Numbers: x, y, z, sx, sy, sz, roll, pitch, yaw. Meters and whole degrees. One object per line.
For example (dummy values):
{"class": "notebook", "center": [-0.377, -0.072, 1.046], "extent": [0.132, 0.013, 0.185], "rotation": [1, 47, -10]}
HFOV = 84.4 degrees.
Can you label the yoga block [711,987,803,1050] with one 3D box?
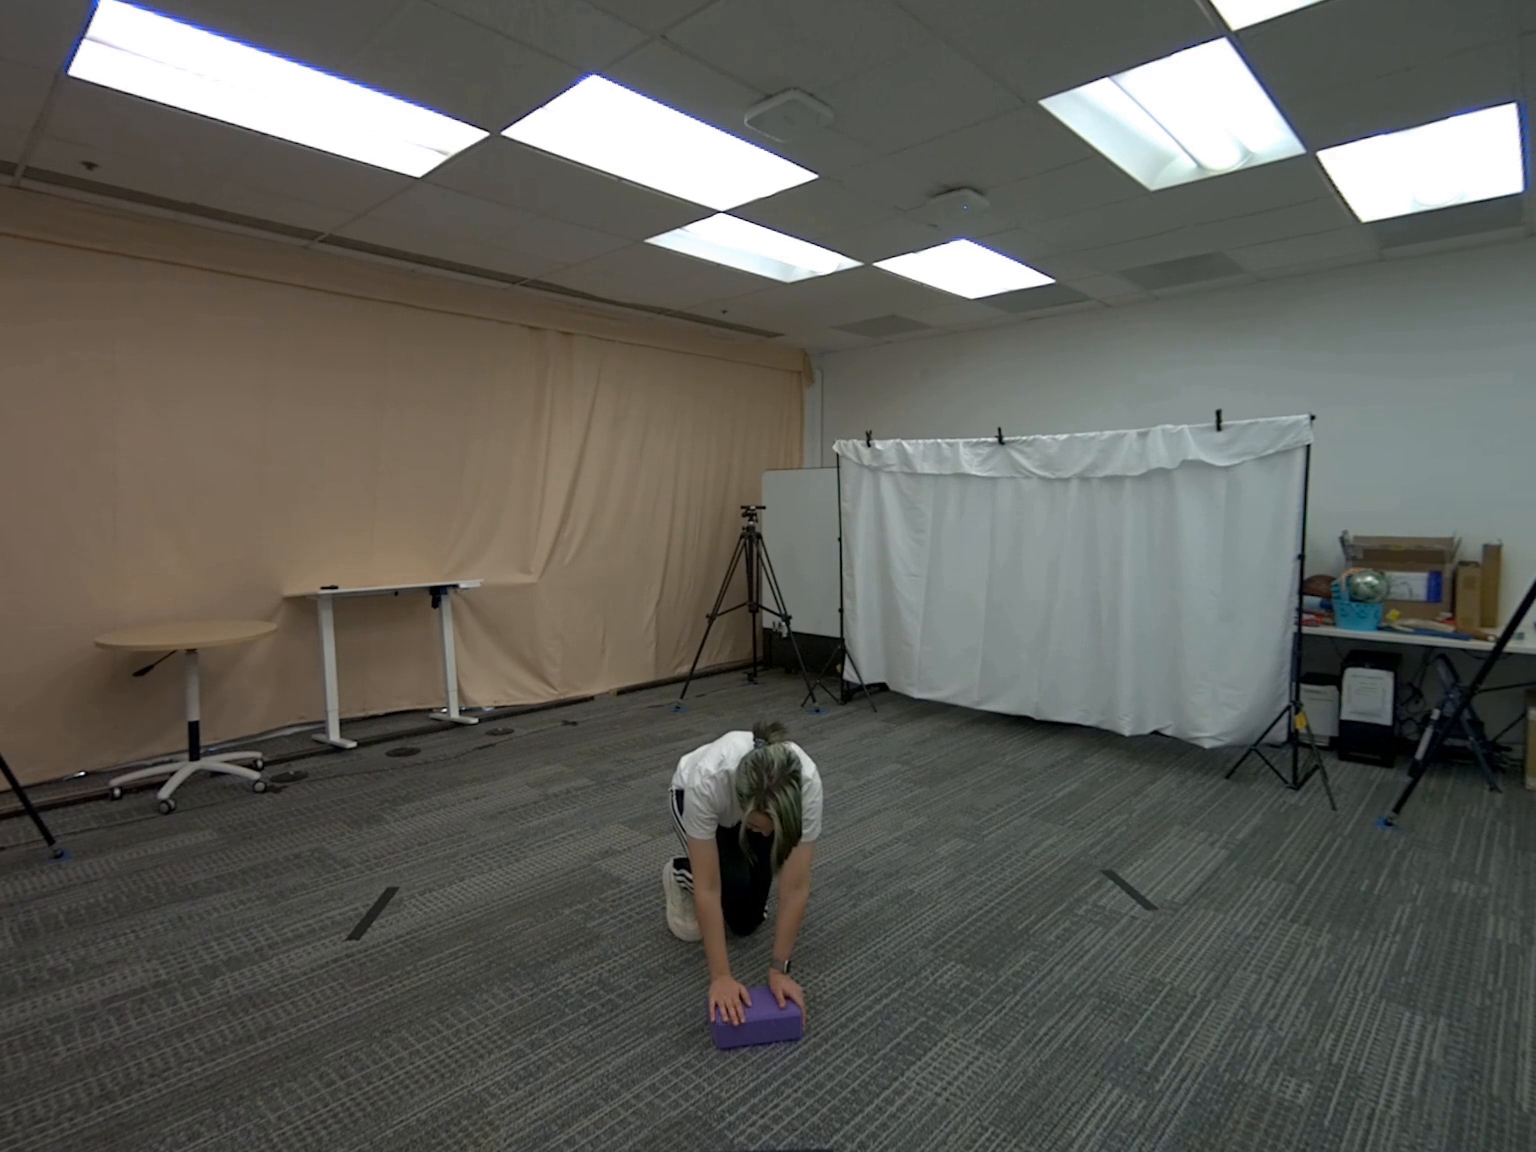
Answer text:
{"class": "yoga block", "center": [-0.040, 1.163, 2.245], "extent": [0.226, 0.076, 0.151], "rotation": [1, 5, -13]}
